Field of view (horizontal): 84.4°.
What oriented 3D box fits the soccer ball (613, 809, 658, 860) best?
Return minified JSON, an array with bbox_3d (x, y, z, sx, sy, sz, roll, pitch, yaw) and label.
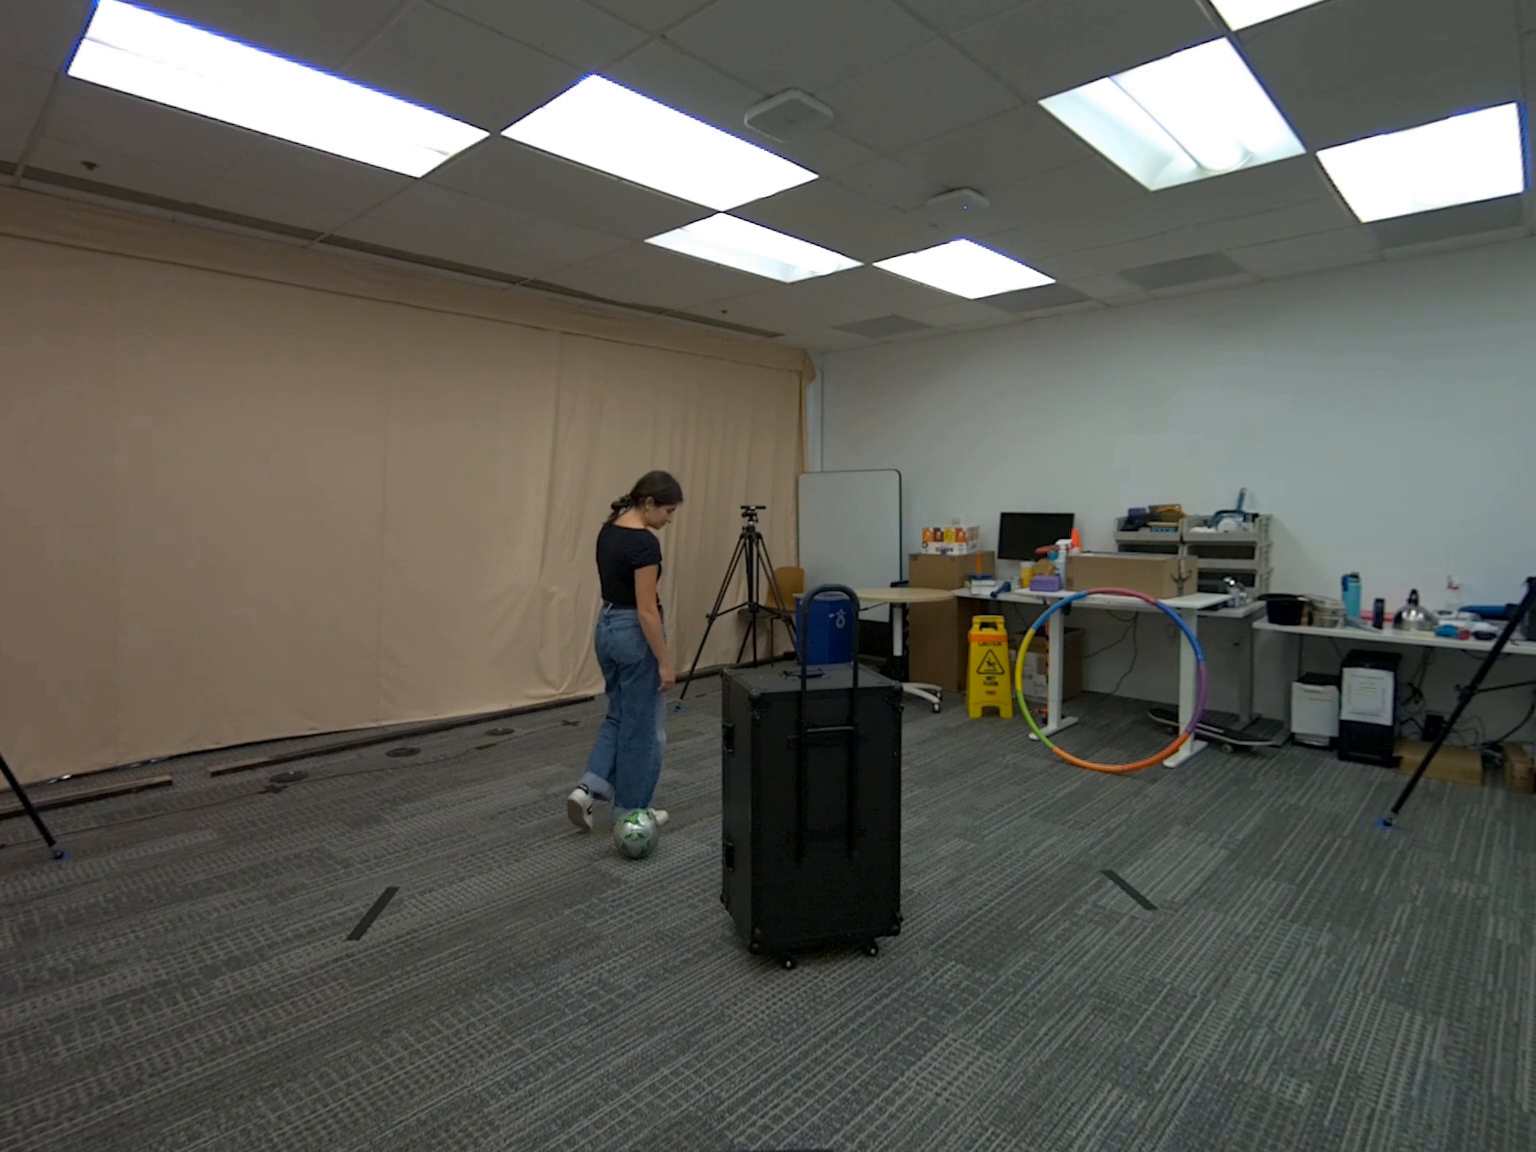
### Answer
[{"bbox_3d":[-0.520,1.025,3.353,0.187,0.187,0.188,0,4,-2],"label":"soccer ball"}]
